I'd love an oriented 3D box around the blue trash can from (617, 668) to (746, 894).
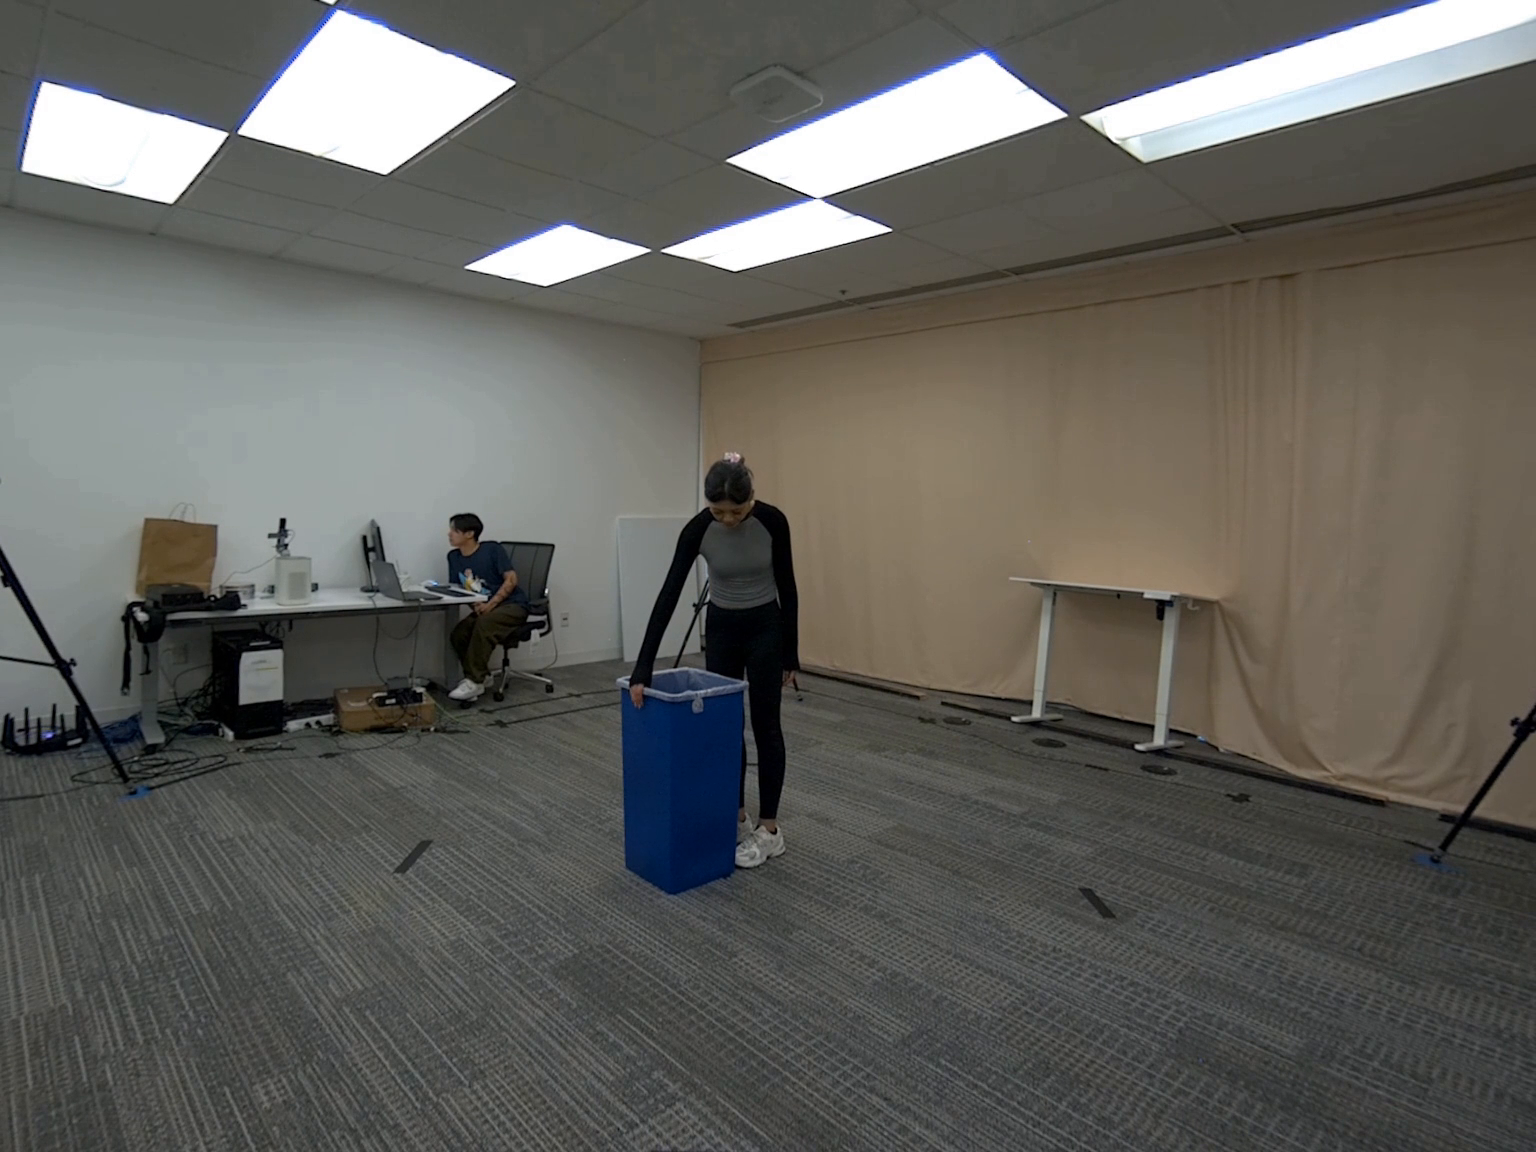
[{"bbox_3d":[-0.338,0.744,3.134,0.369,0.712,0.384,-2,5,-43],"label":"blue trash can"}]
